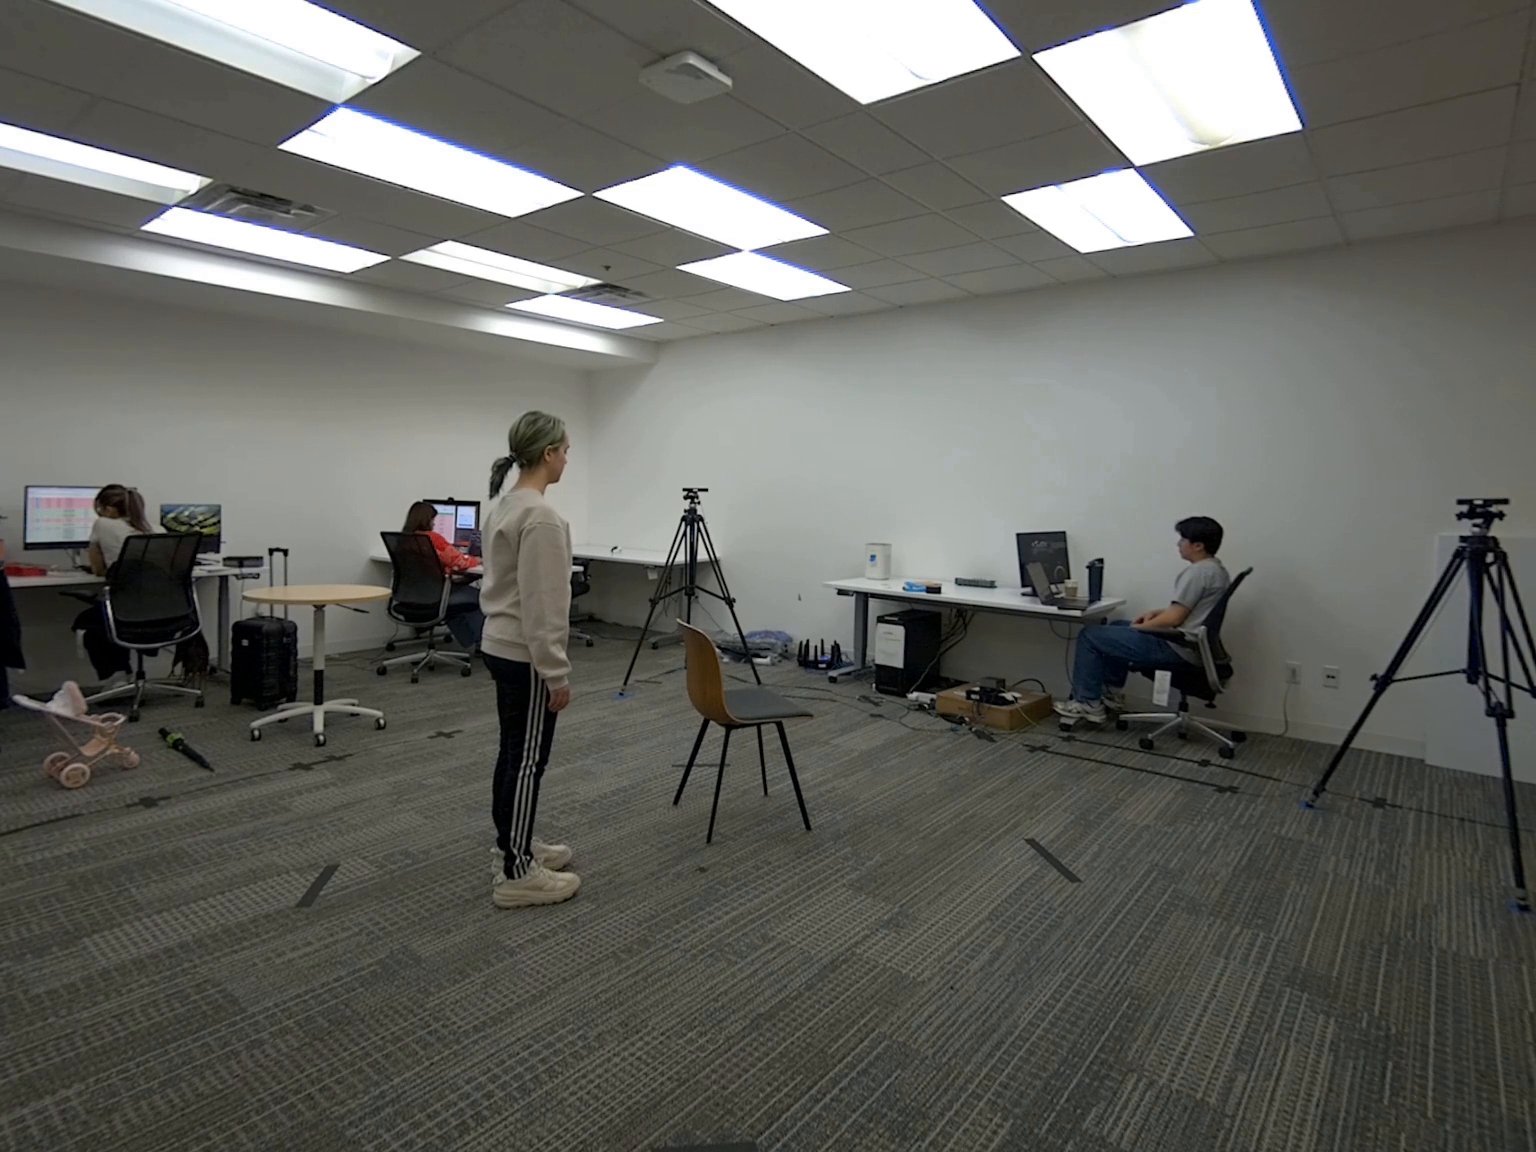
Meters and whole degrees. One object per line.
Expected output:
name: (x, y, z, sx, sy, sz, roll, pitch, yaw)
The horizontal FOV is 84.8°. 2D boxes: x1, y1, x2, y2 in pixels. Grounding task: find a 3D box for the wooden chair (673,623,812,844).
wooden chair: (-0.115, 0.600, 3.590, 0.513, 0.874, 0.490, -4, 5, -22)
